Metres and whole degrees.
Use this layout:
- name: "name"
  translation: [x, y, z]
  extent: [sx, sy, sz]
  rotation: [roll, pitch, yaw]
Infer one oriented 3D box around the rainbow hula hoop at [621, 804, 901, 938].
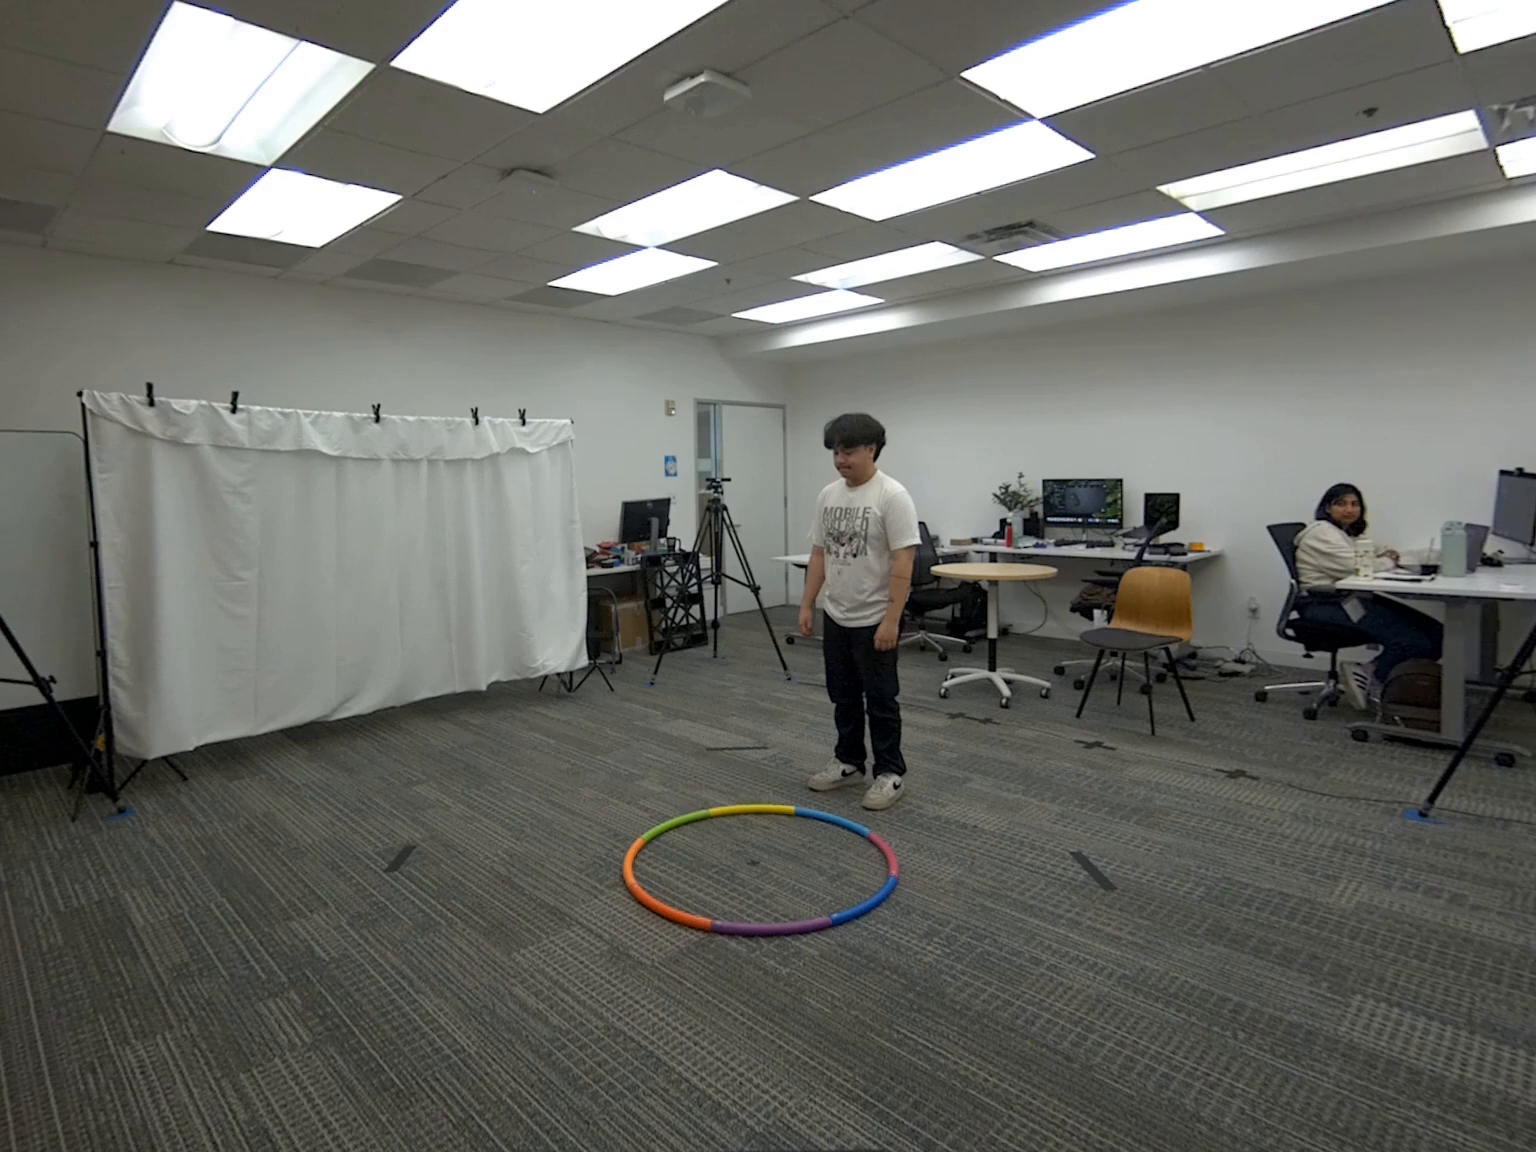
- name: "rainbow hula hoop"
  translation: [-0.026, 1.019, 3.088]
  extent: [0.985, 0.051, 0.991]
  rotation: [-1, 7, -2]
